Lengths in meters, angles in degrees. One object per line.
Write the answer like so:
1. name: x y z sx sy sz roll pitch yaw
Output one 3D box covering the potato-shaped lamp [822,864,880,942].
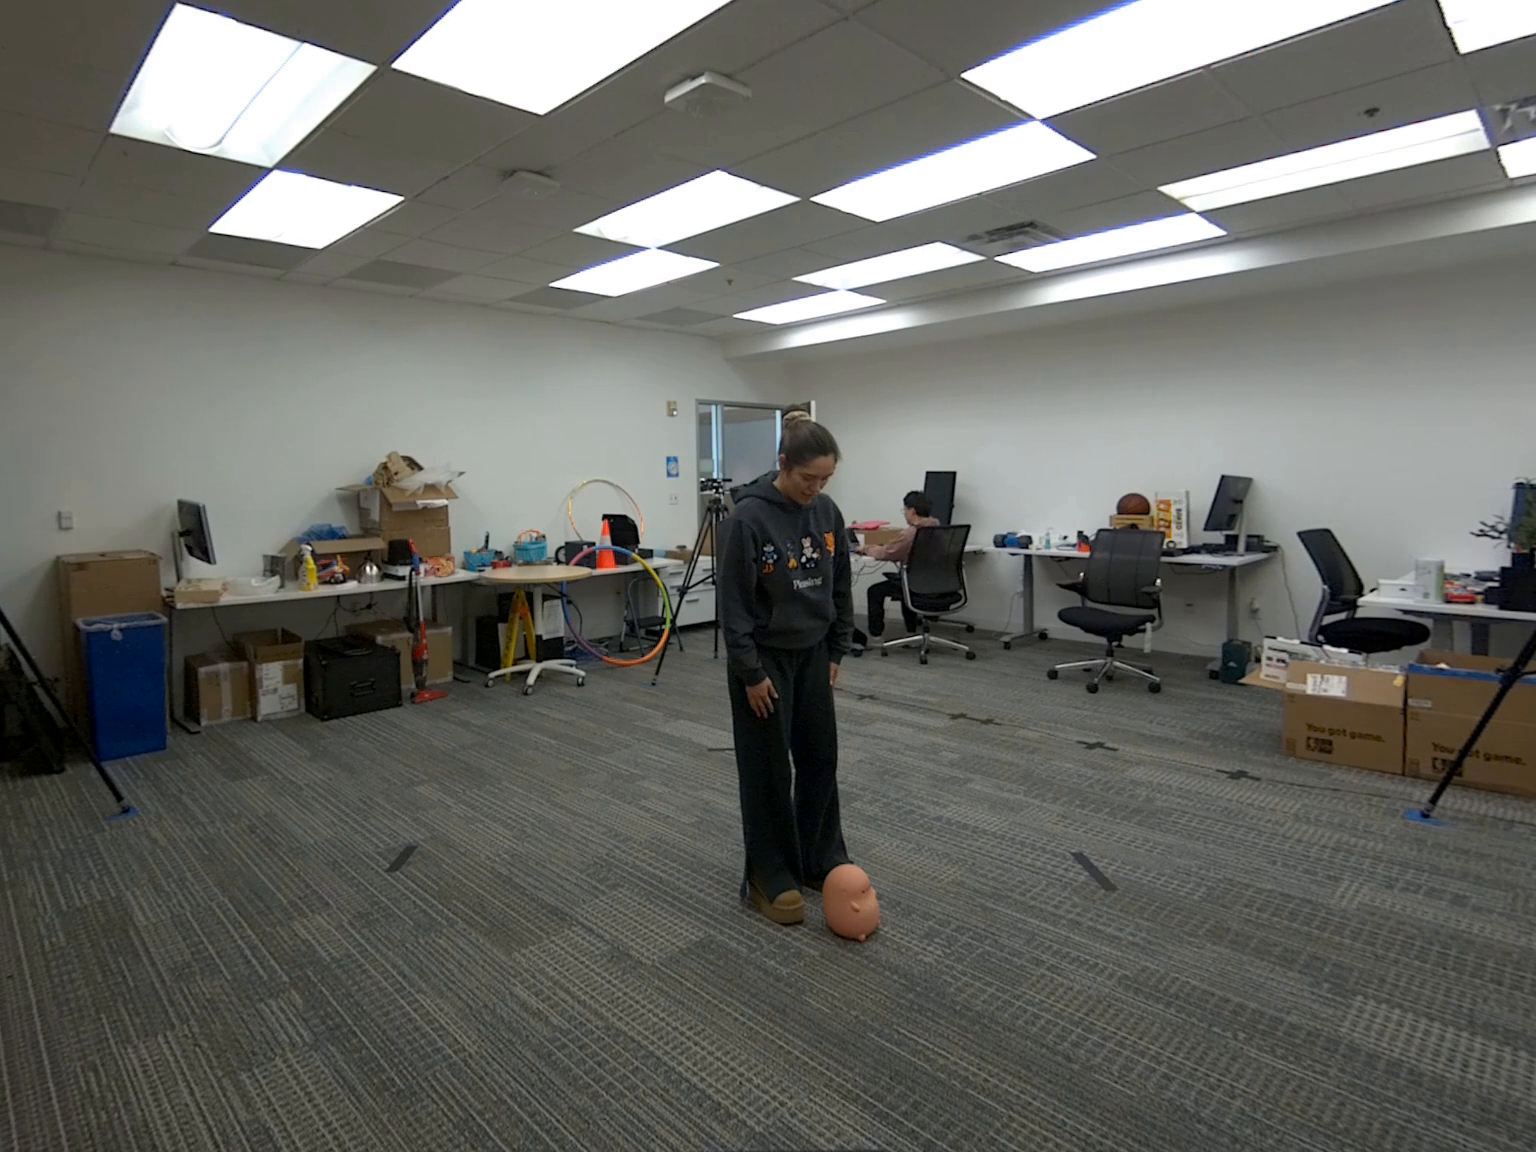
1. potato-shaped lamp: 0.261 0.997 2.622 0.176 0.197 0.161 -3 4 38
